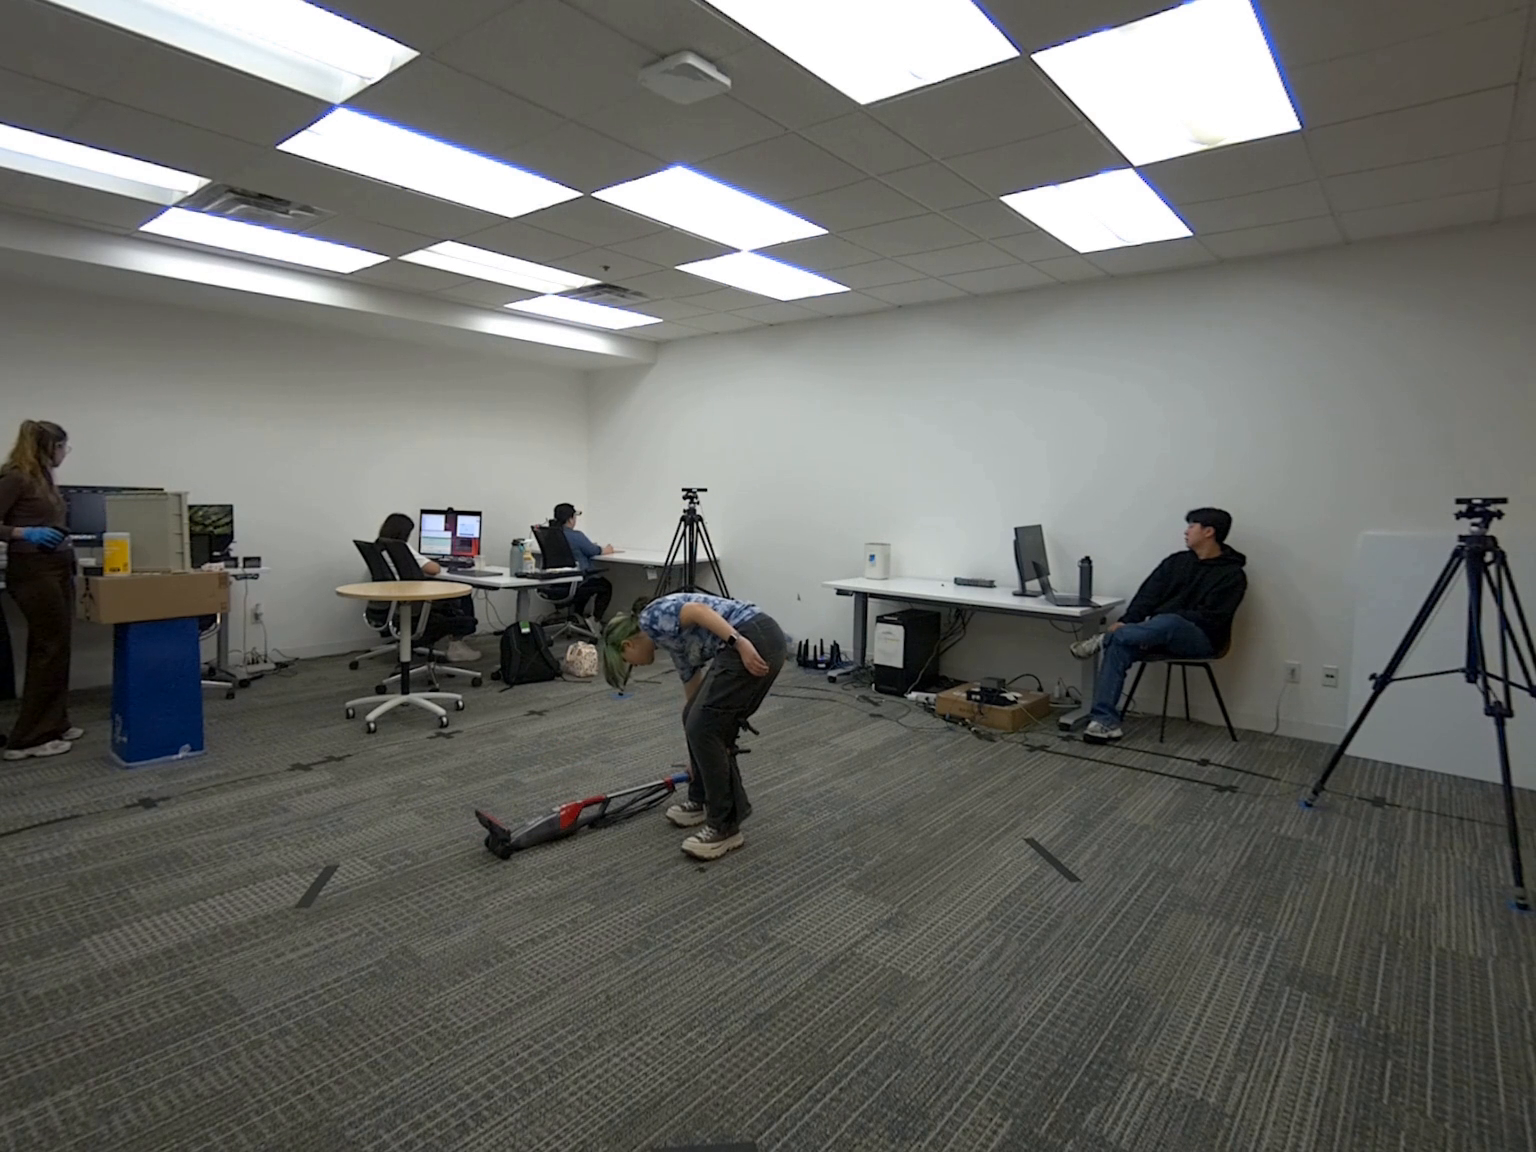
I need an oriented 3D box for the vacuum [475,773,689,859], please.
[{"bbox_3d":[-0.682,0.959,3.527,1.017,0.143,0.262,-3,9,-43],"label":"vacuum"}]
